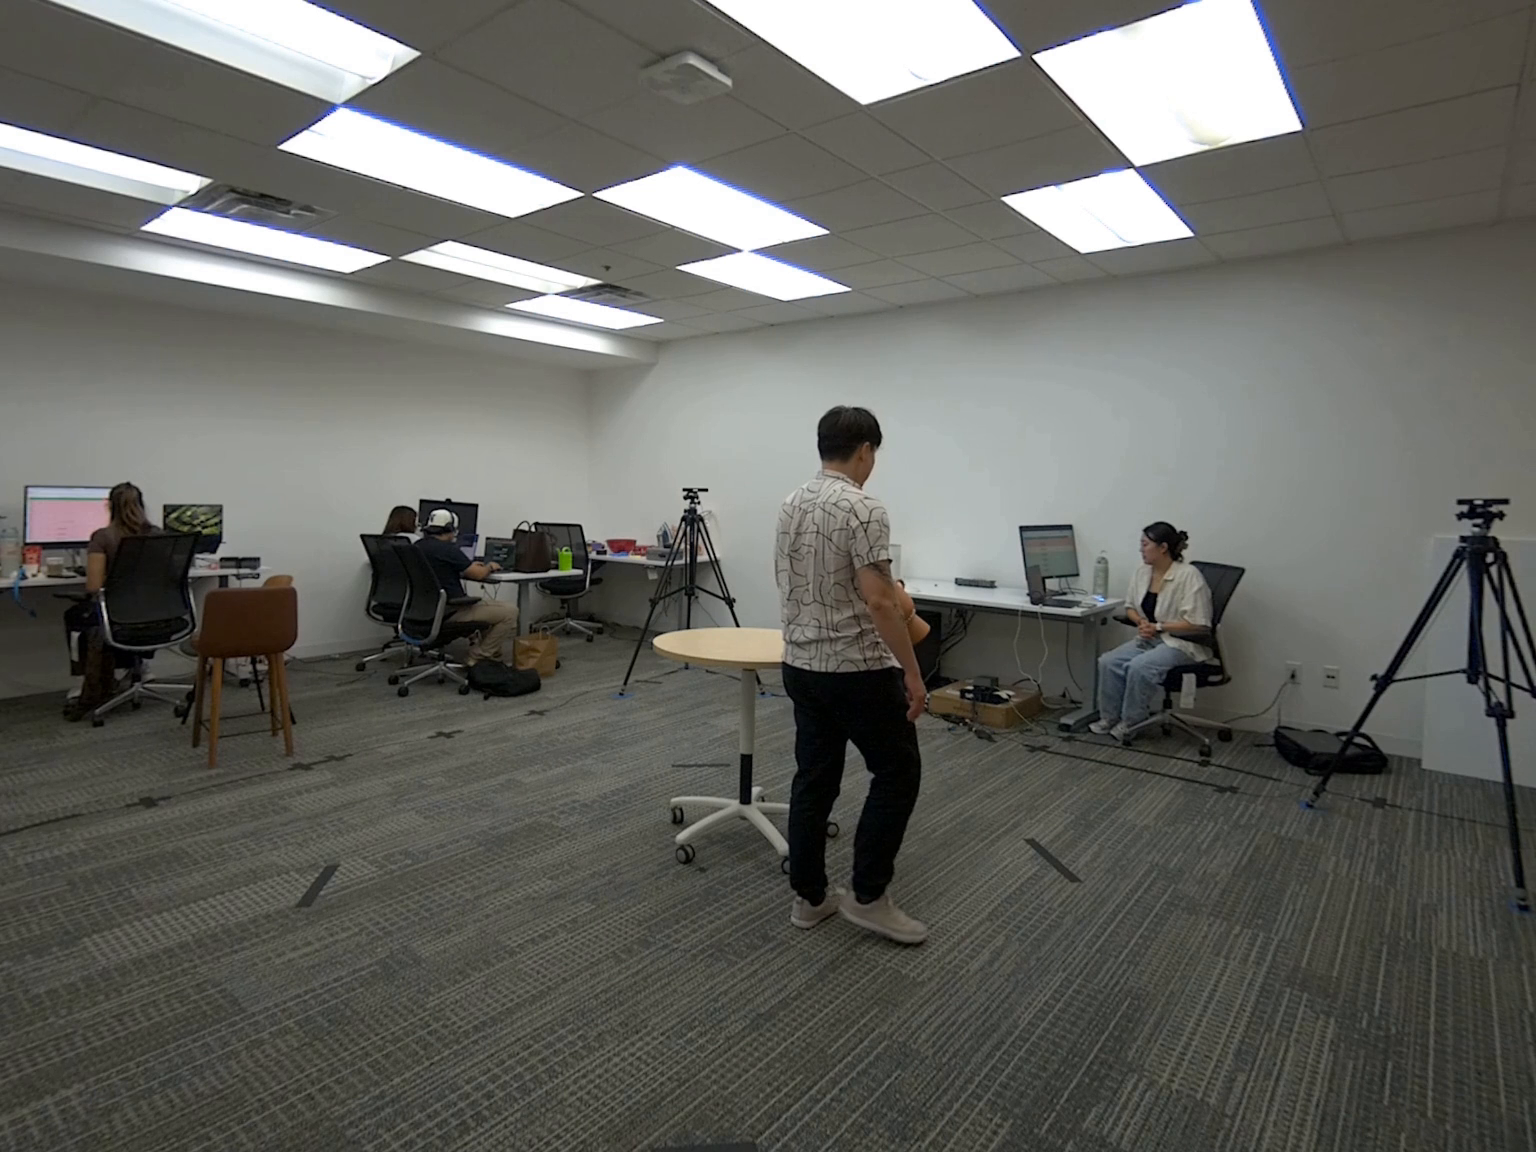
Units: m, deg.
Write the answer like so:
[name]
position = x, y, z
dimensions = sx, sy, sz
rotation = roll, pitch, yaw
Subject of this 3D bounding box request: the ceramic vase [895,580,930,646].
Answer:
[ceramic vase]
position = 0.448, 0.124, 2.946
dimensions = 0.159, 0.218, 0.135
rotation = -41, 6, 16
